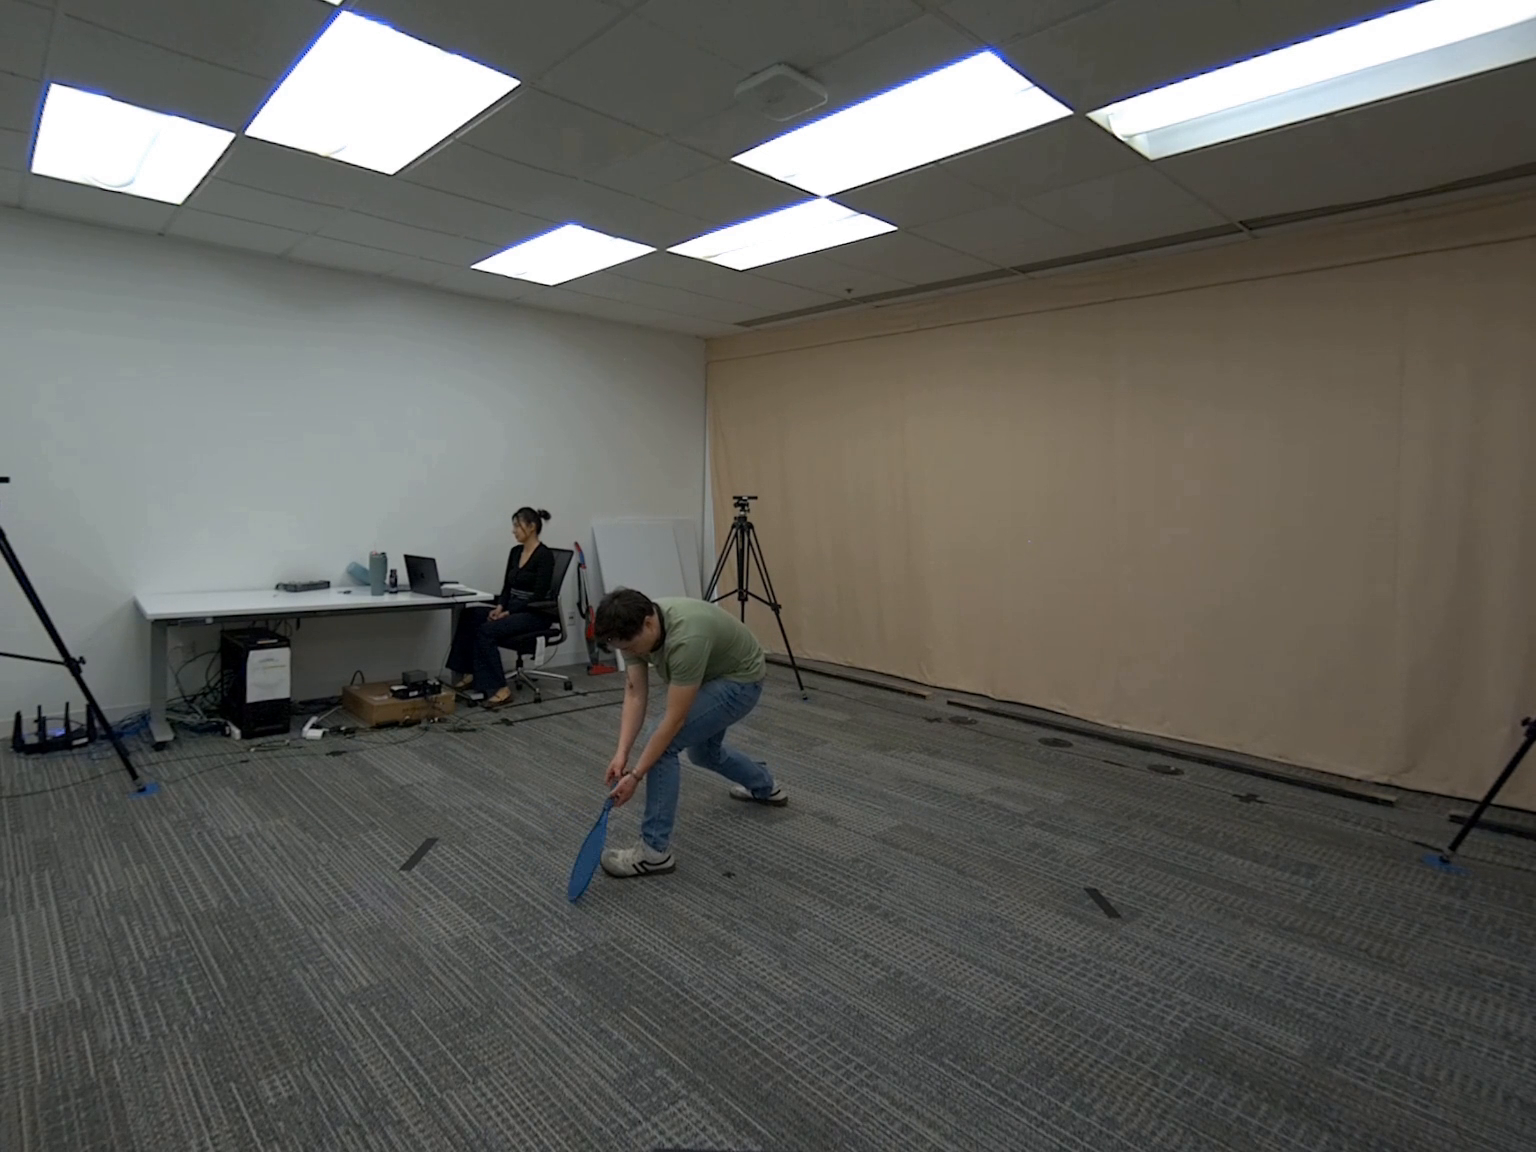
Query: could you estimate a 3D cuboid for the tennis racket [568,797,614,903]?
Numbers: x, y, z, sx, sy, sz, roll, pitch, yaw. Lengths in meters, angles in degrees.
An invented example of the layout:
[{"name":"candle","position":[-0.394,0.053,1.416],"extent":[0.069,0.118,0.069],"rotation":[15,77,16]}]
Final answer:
[{"name":"tennis racket","position":[-0.609,0.919,2.949],"extent":[0.031,0.436,0.215],"rotation":[27,-20,-13]}]
